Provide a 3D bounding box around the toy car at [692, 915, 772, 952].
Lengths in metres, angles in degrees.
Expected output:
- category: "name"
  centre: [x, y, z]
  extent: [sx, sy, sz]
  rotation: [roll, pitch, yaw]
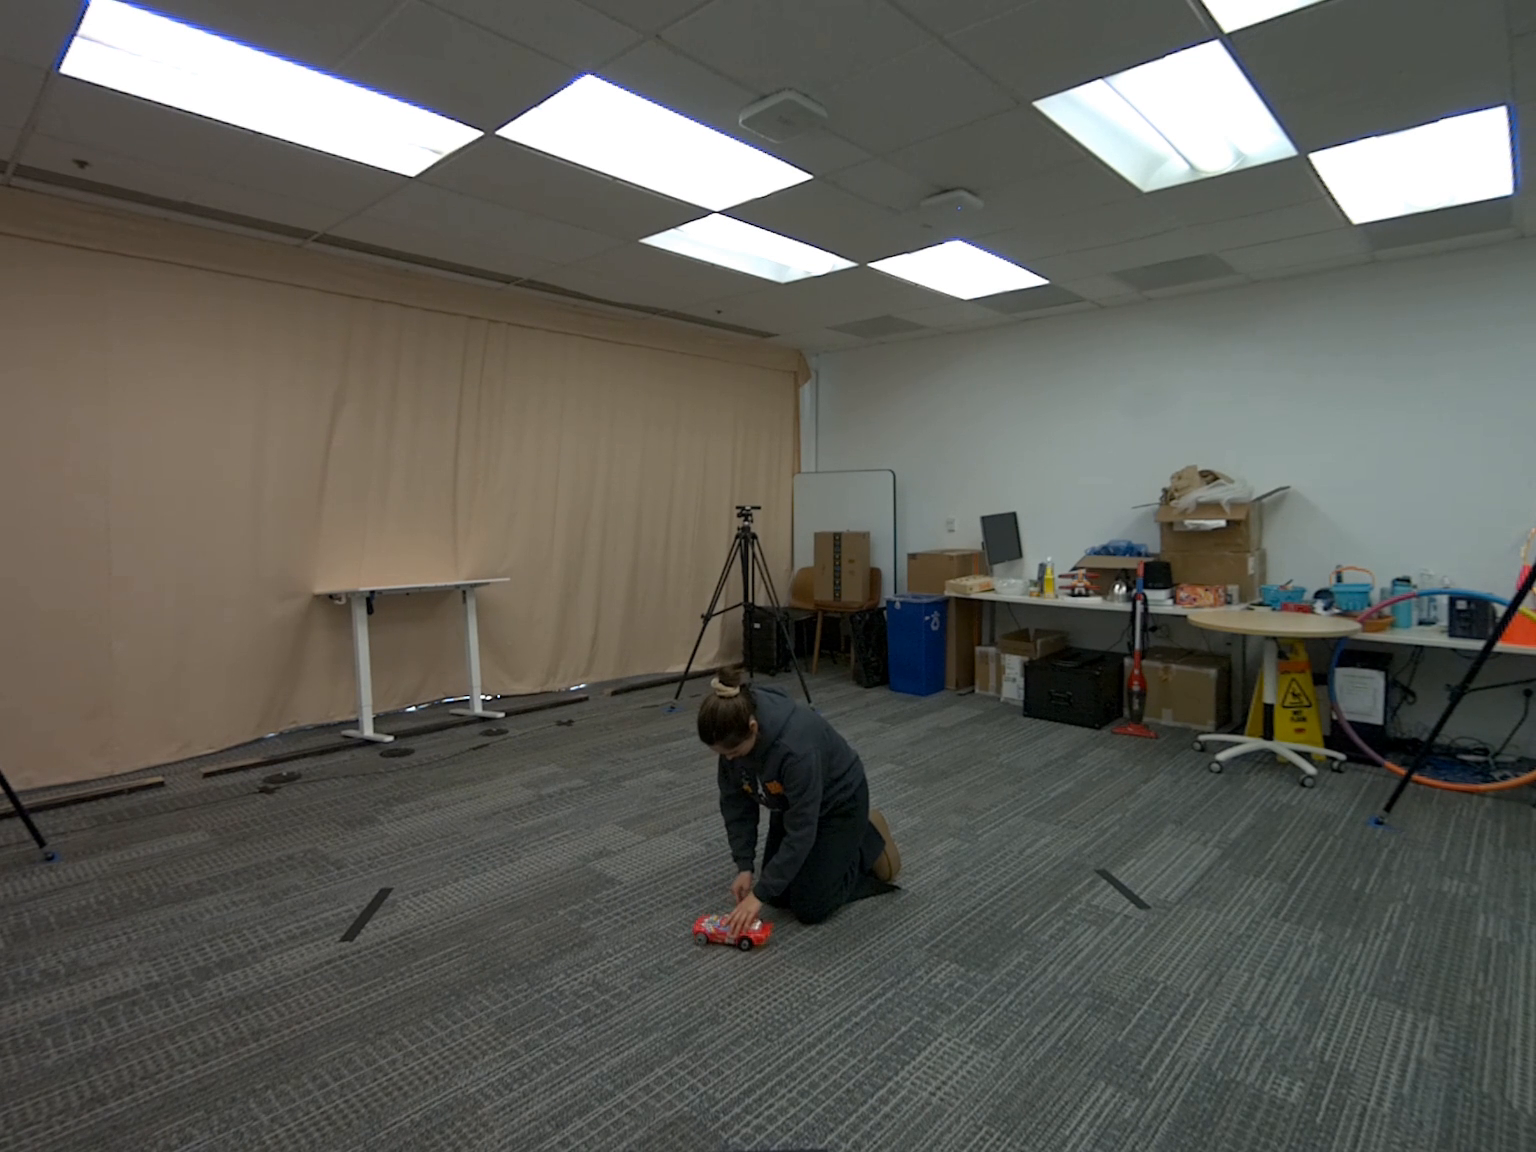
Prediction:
- category: "toy car"
  centre: [-0.086, 1.135, 2.696]
  extent: [0.258, 0.083, 0.129]
  rotation: [-9, 2, 13]
